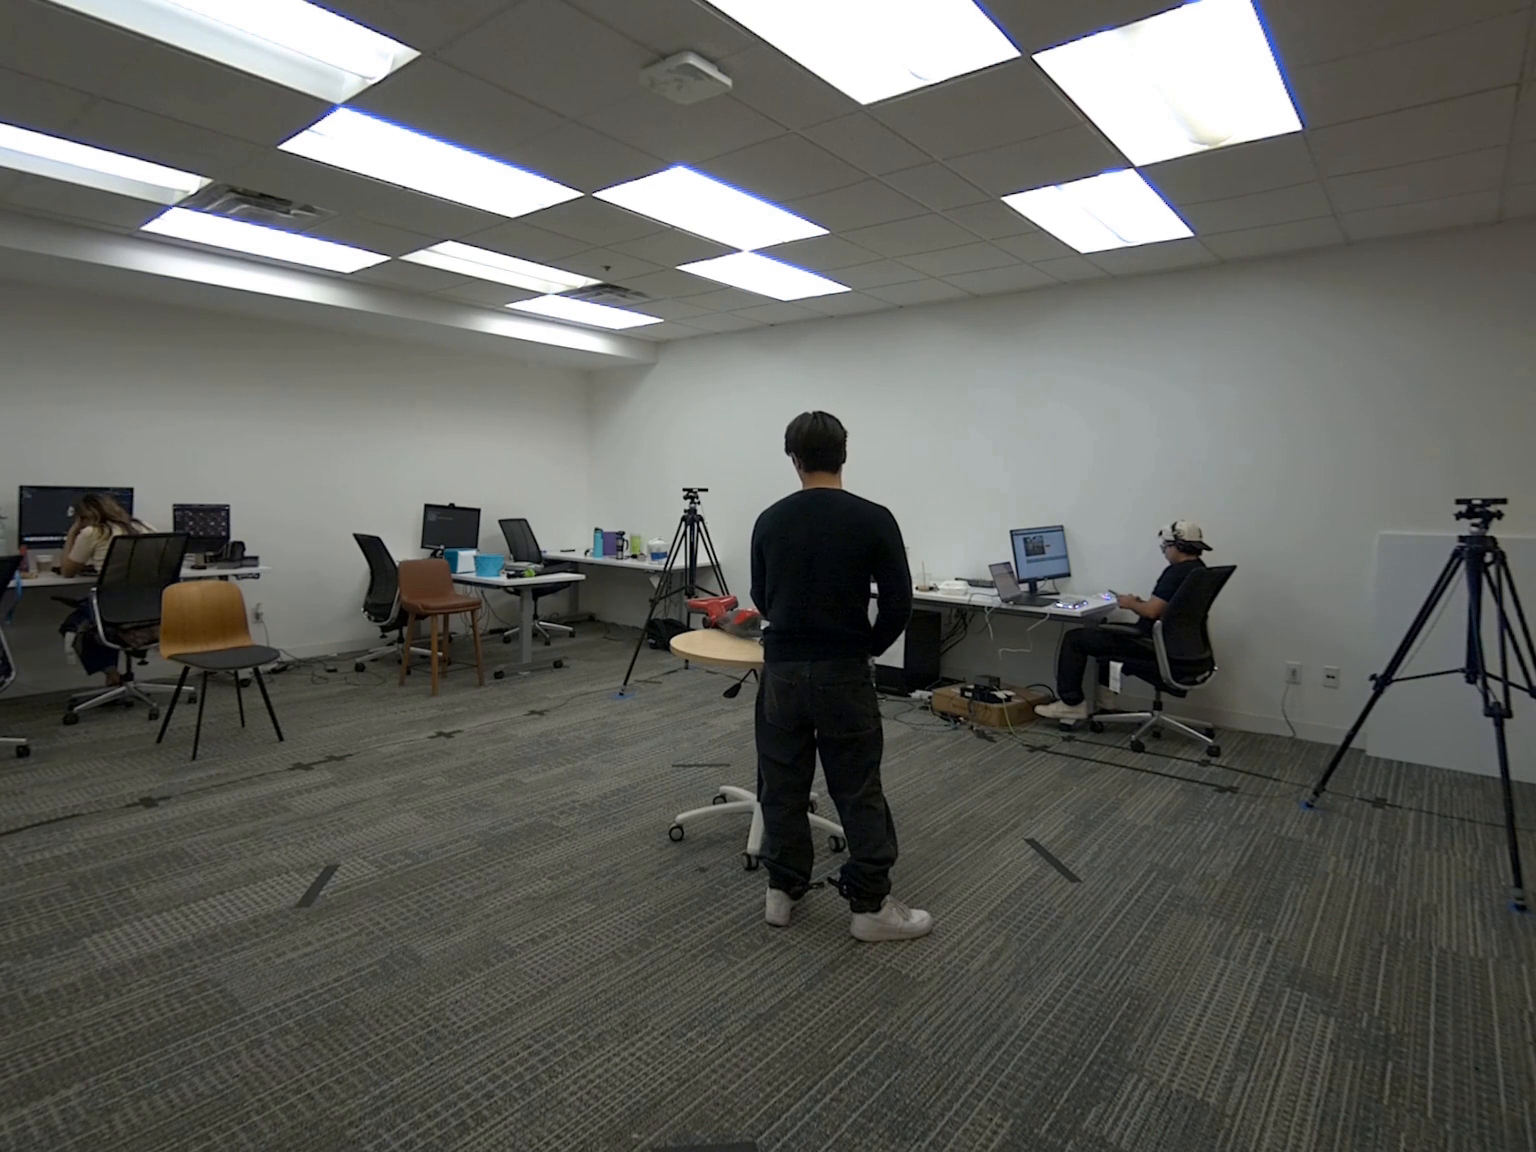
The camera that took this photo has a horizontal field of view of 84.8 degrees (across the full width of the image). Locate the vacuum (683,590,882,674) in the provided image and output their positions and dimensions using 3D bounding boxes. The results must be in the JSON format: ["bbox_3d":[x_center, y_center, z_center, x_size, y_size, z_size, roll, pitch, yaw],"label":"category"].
[{"bbox_3d":[0.008,0.213,3.302,0.247,0.143,1.082,-9,11,-29],"label":"vacuum"}]
